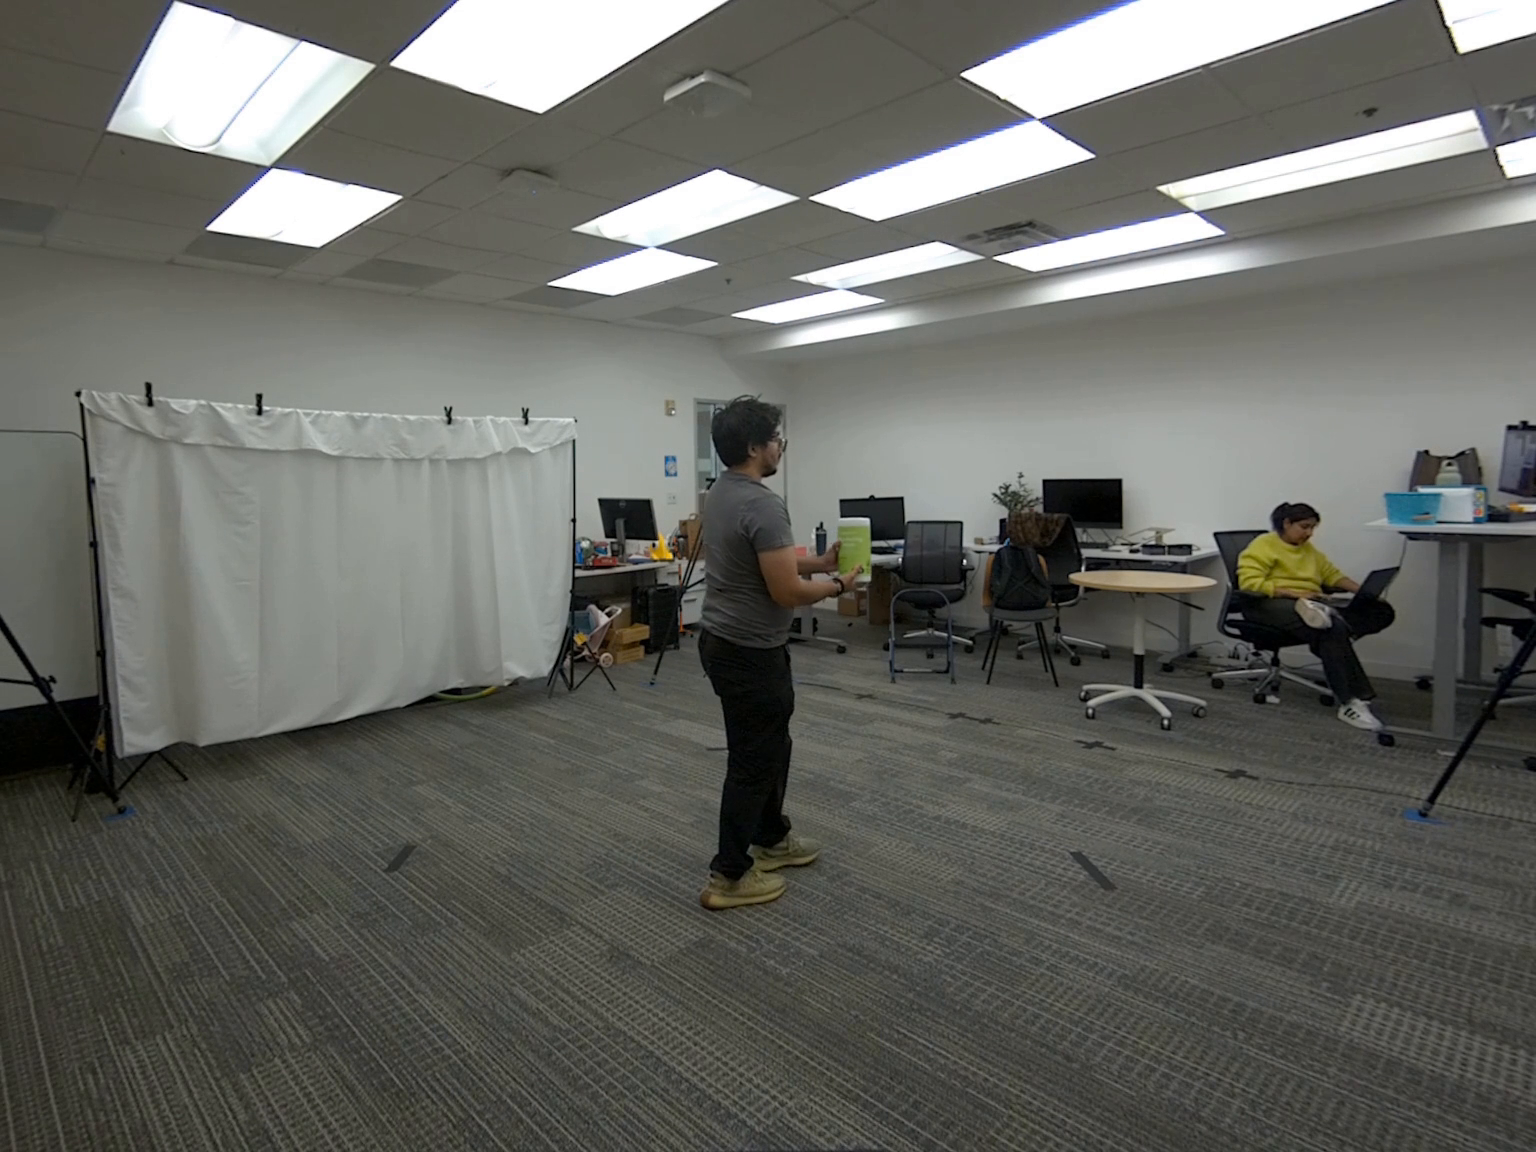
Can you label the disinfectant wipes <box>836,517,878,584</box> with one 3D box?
[{"bbox_3d":[0.295,-0.086,2.878,0.118,0.218,0.118,0,-2,-2],"label":"disinfectant wipes"}]
